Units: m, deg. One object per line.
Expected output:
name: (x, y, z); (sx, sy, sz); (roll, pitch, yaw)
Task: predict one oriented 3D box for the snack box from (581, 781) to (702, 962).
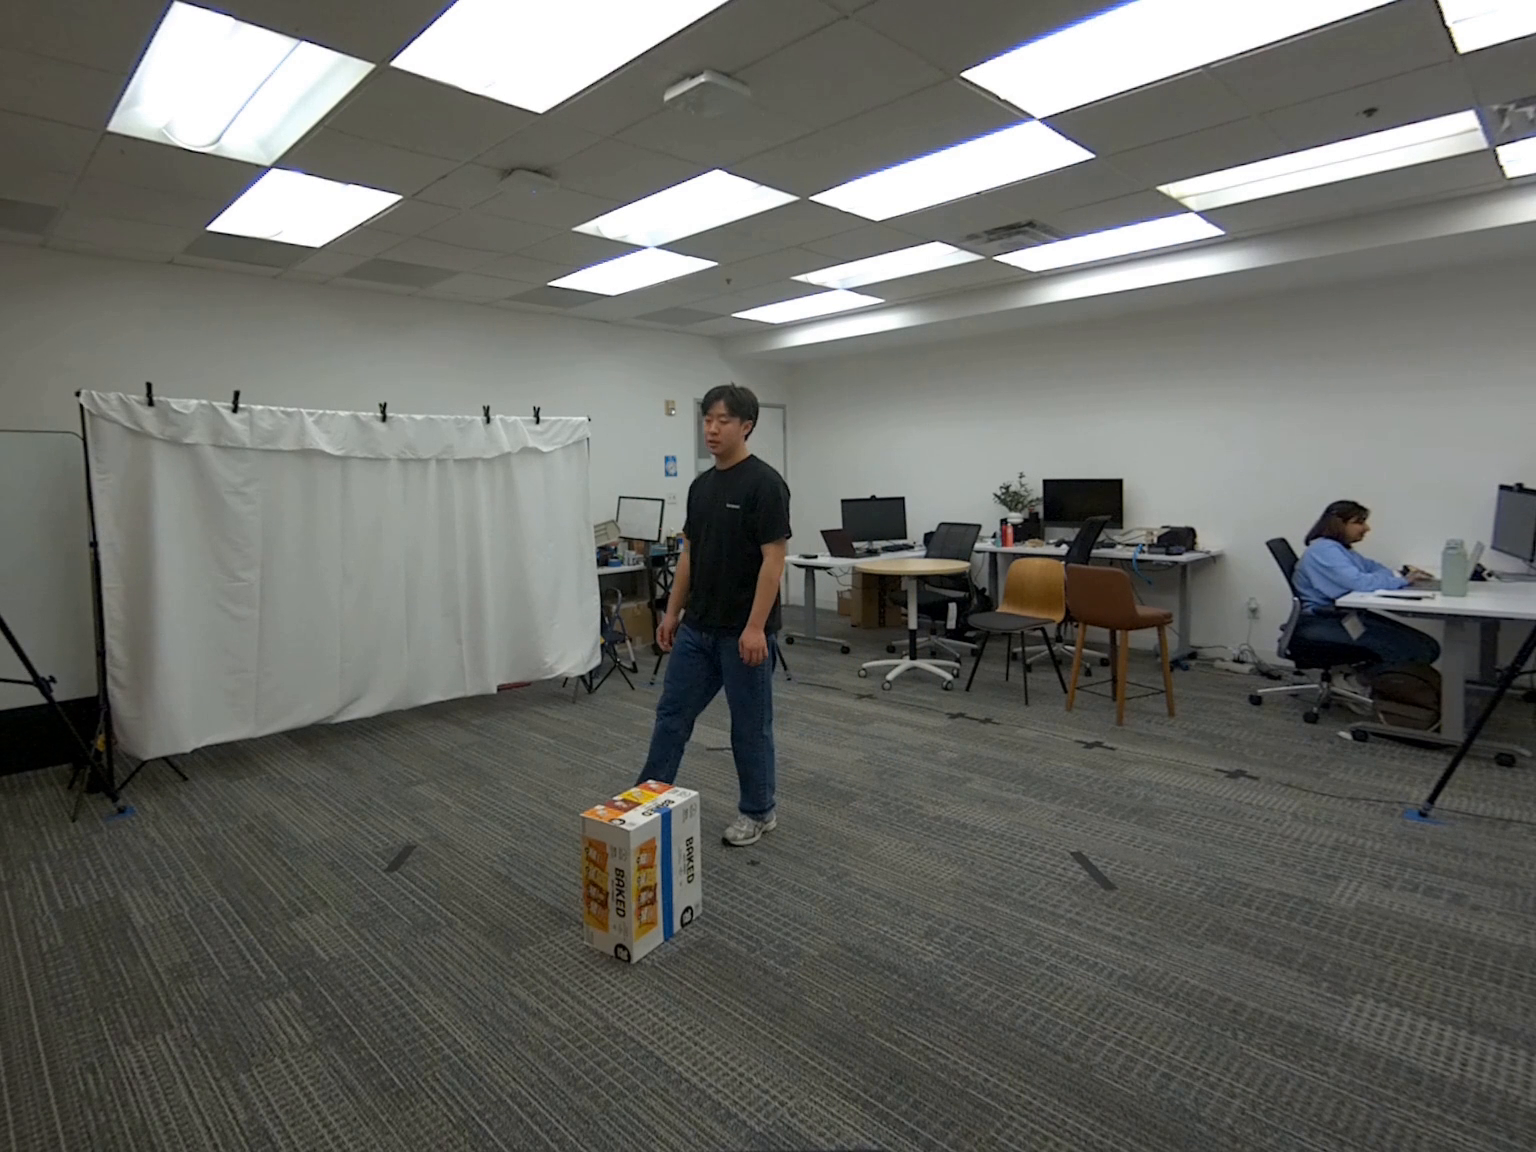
snack box: (-0.388, 0.902, 2.647); (0.211, 0.403, 0.332); (2, 6, 33)
